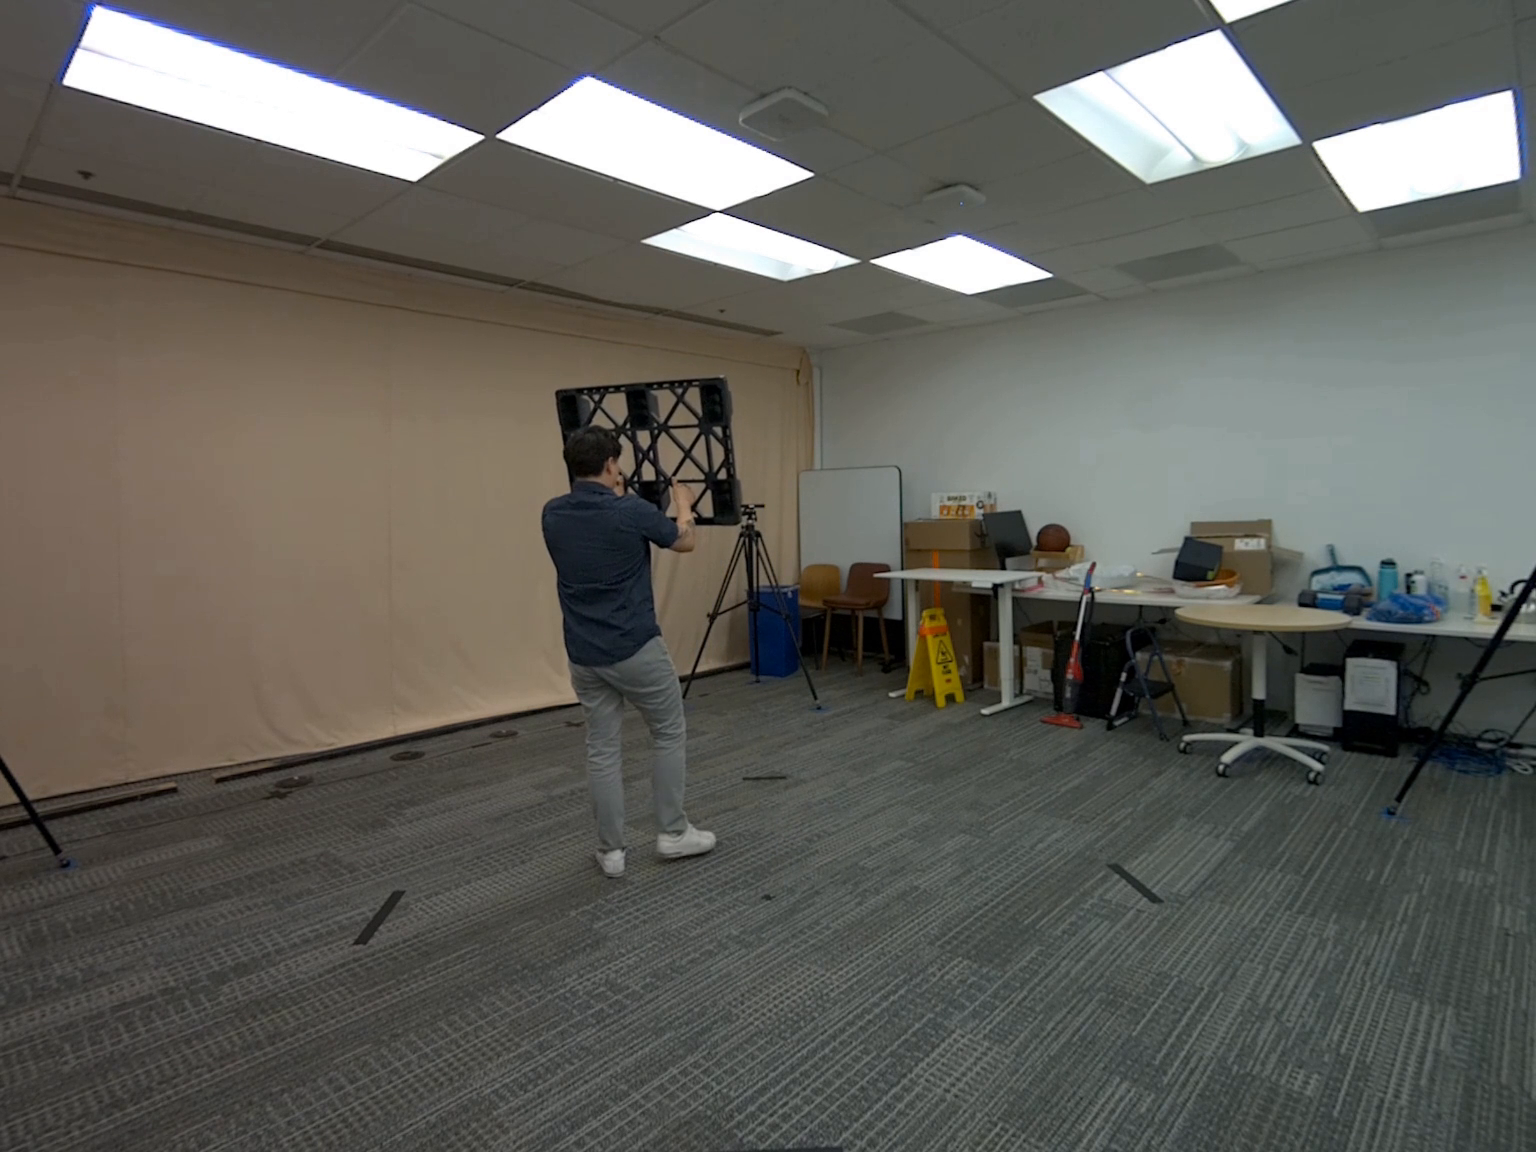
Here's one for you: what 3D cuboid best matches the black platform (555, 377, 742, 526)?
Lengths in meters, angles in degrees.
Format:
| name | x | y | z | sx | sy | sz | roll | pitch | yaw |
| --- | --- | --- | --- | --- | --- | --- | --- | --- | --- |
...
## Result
| name | x | y | z | sx | sy | sz | roll | pitch | yaw |
| --- | --- | --- | --- | --- | --- | --- | --- | --- | --- |
| black platform | -0.496 | -0.521 | 3.551 | 0.825 | 0.598 | 0.141 | 1 | 16 | 24 |
